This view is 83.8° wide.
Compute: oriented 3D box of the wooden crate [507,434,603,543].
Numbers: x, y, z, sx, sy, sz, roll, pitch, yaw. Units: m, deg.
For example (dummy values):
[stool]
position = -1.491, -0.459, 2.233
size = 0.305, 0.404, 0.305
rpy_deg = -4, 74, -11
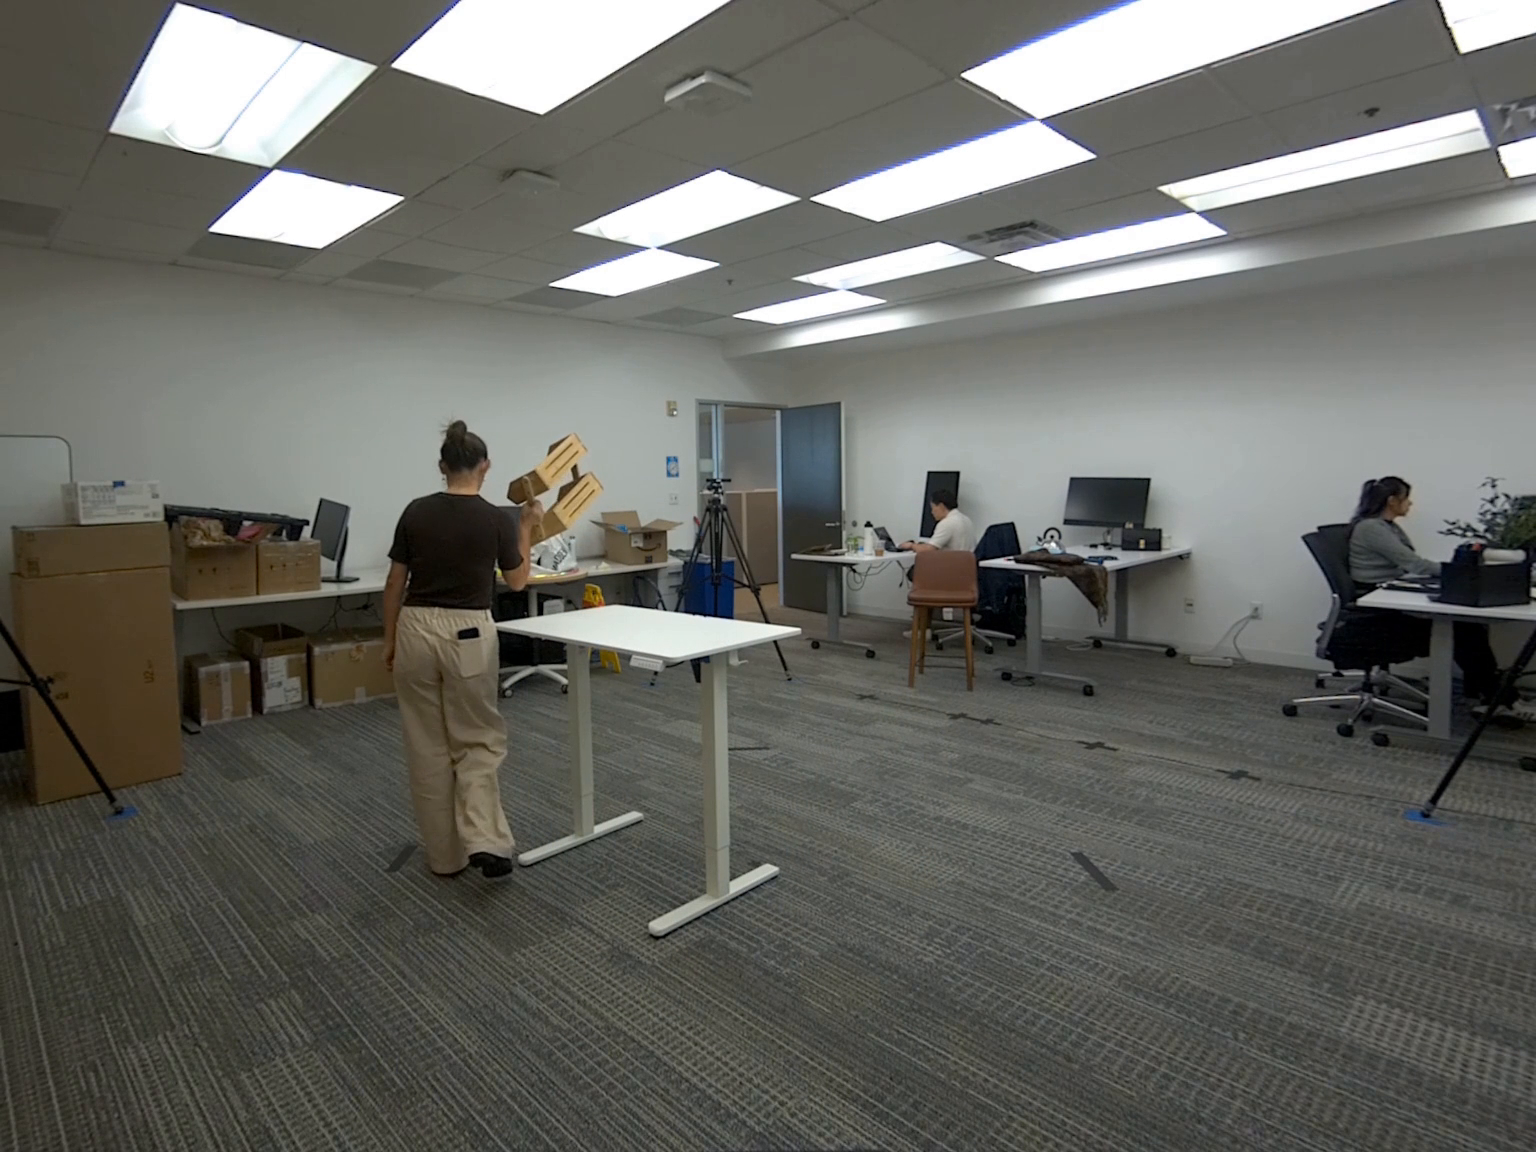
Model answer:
[wooden crate]
position = -0.856, -0.335, 3.344
size = 0.307, 0.267, 0.327
rpy_deg = -20, 24, 33
